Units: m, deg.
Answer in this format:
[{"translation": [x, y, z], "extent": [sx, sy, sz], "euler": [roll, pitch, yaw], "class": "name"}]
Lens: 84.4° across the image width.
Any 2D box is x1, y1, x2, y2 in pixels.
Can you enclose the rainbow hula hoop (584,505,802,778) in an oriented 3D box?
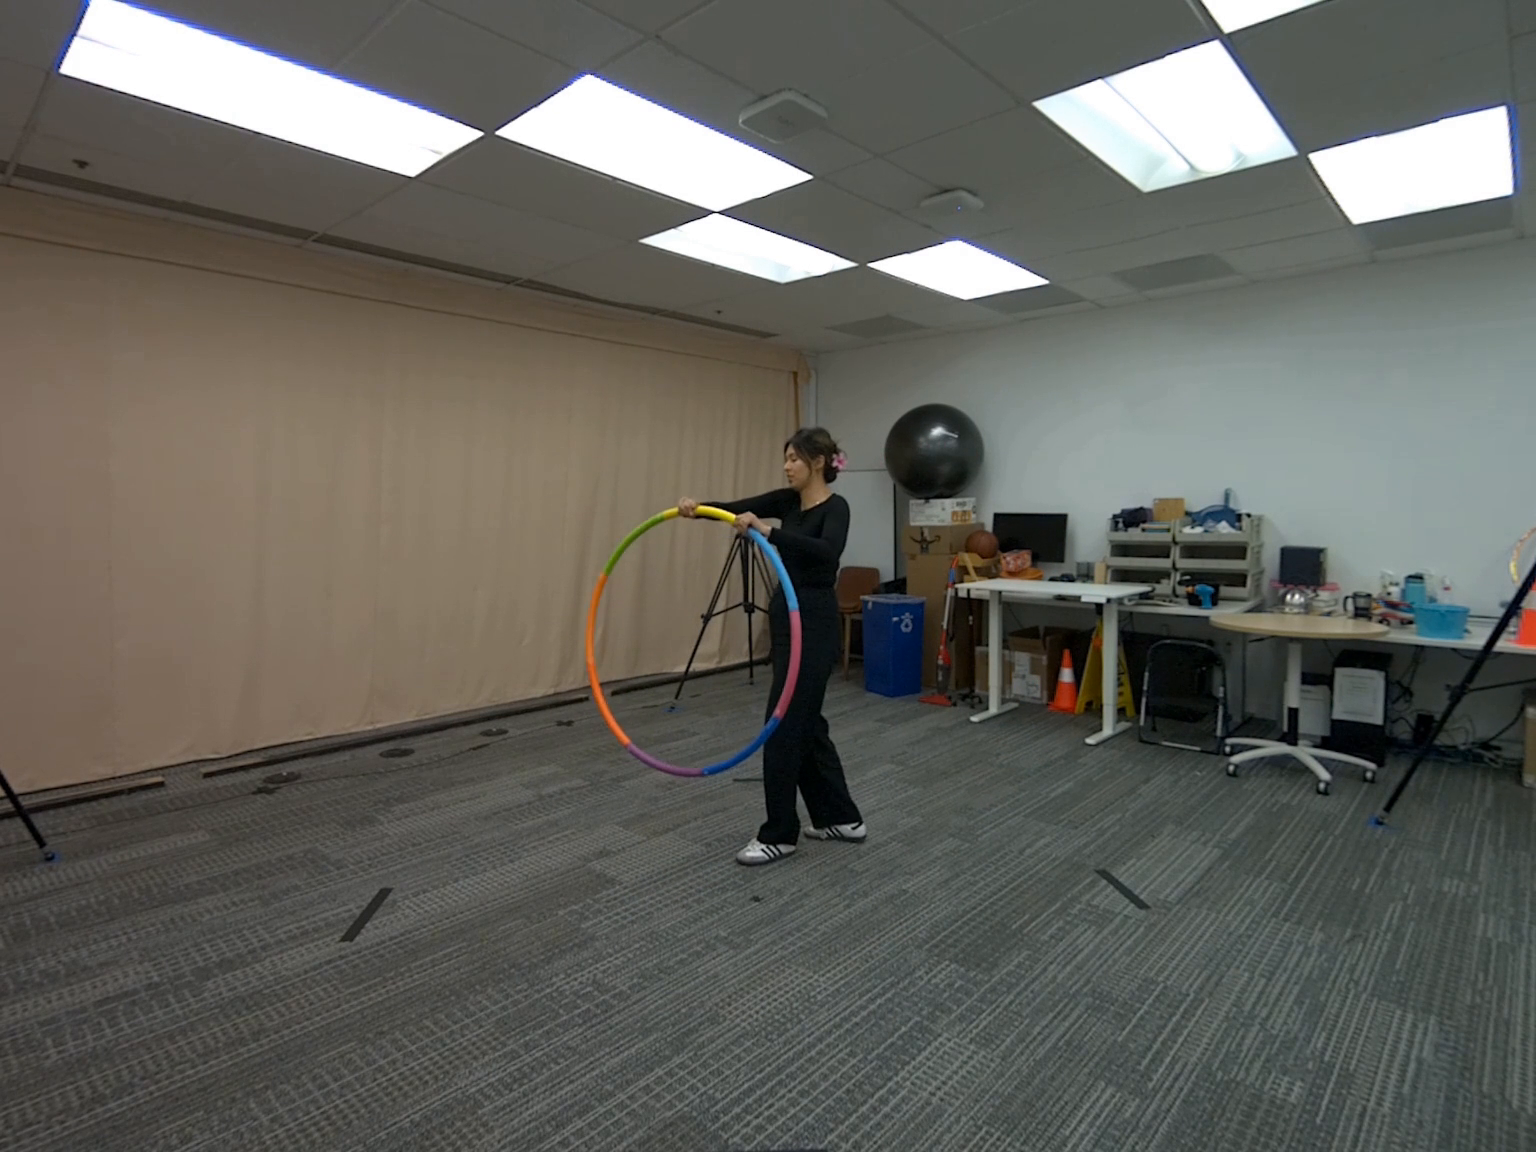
[{"translation": [-0.306, 0.231, 3.113], "extent": [1.016, 0.987, 0.050], "euler": [3, -5, 35], "class": "rainbow hula hoop"}]
